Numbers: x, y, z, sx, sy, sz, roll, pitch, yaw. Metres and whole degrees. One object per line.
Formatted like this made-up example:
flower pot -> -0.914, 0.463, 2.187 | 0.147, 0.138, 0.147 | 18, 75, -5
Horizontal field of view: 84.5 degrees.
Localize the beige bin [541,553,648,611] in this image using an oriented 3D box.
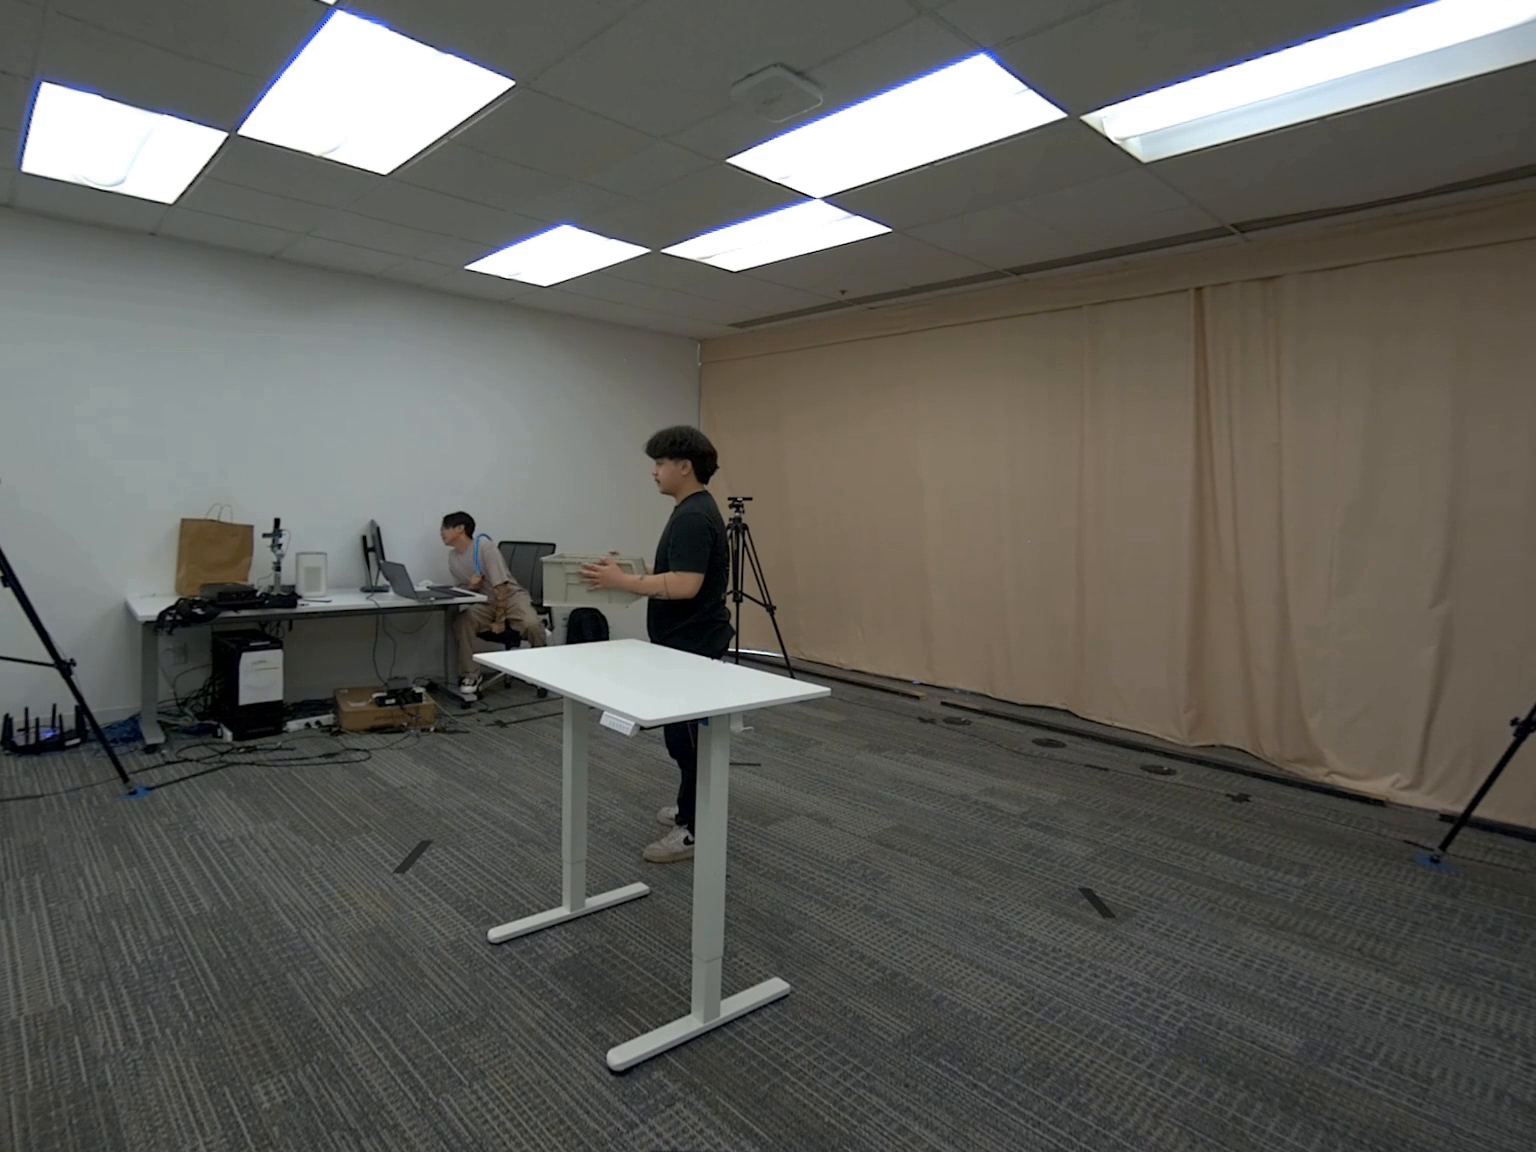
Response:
beige bin -> -0.677, 0.024, 3.334 | 0.376, 0.188, 0.425 | 0, 4, -4
